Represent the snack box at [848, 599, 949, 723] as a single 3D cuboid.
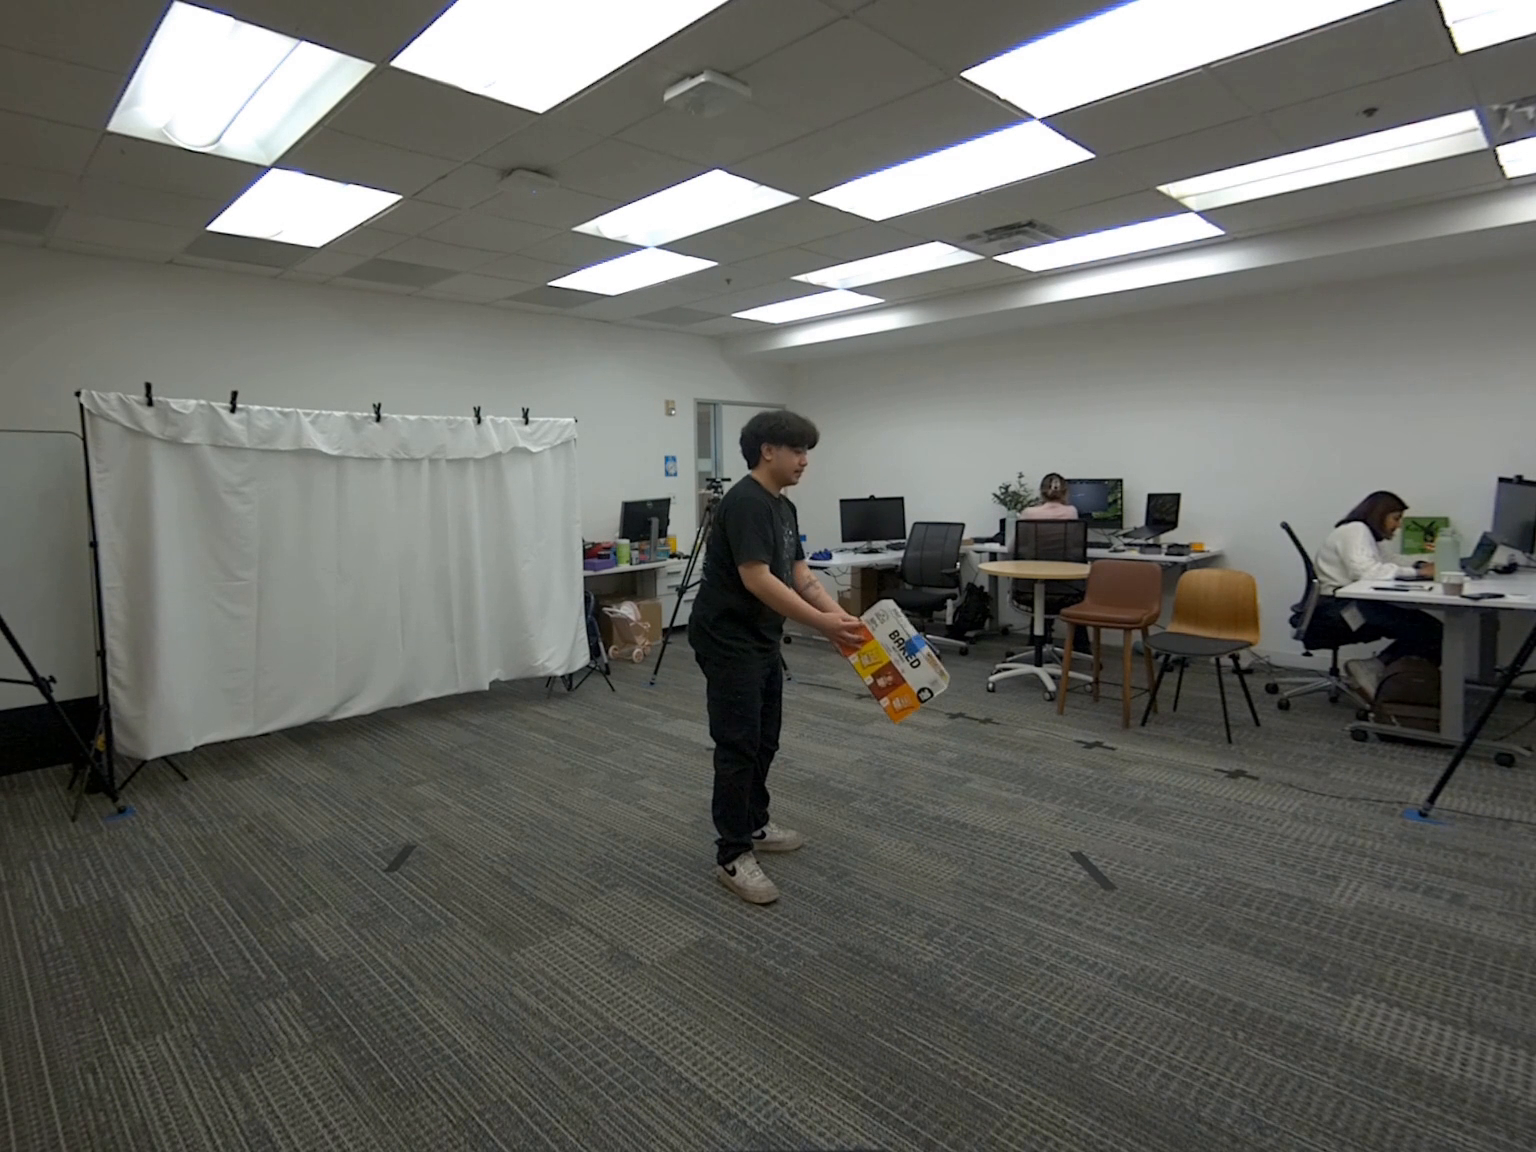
[{"bbox_3d":[0.428,0.277,2.910,0.206,0.346,0.398,-37,-11,10],"label":"snack box"}]
